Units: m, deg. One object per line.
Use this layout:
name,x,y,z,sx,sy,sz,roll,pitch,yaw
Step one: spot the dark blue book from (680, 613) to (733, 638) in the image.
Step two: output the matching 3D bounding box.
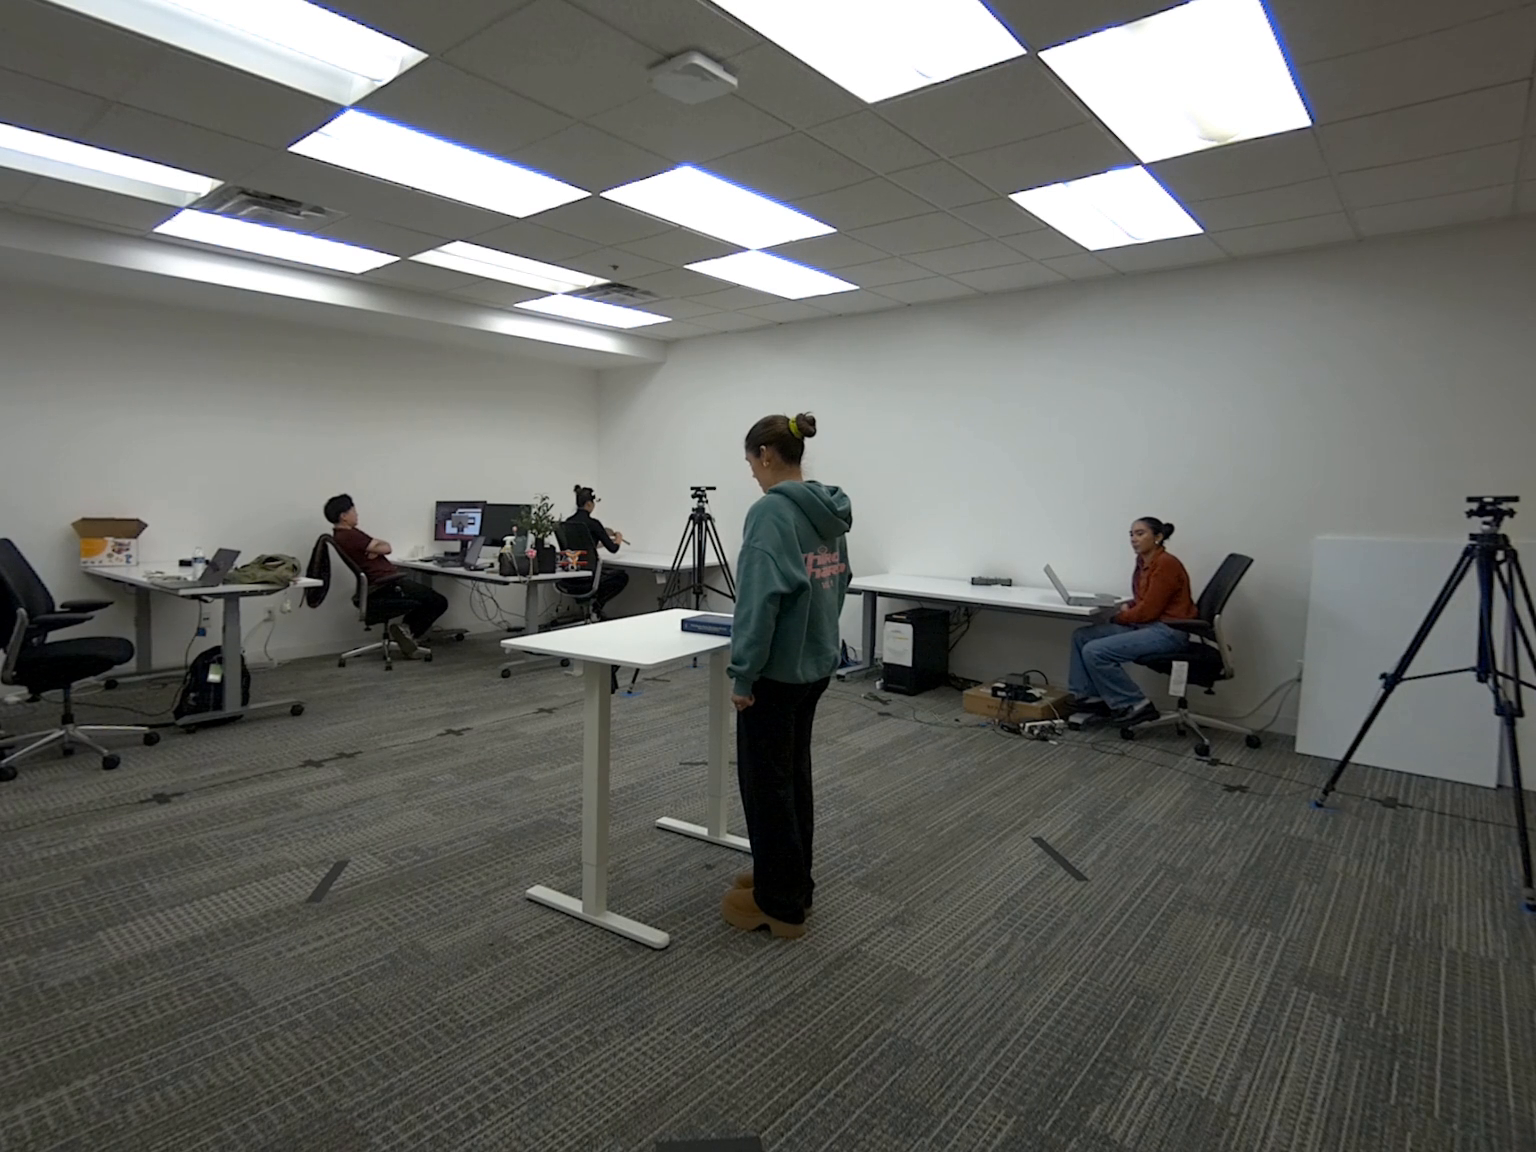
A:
dark blue book,-0.176,0.175,3.011,0.252,0.045,0.160,4,6,27
